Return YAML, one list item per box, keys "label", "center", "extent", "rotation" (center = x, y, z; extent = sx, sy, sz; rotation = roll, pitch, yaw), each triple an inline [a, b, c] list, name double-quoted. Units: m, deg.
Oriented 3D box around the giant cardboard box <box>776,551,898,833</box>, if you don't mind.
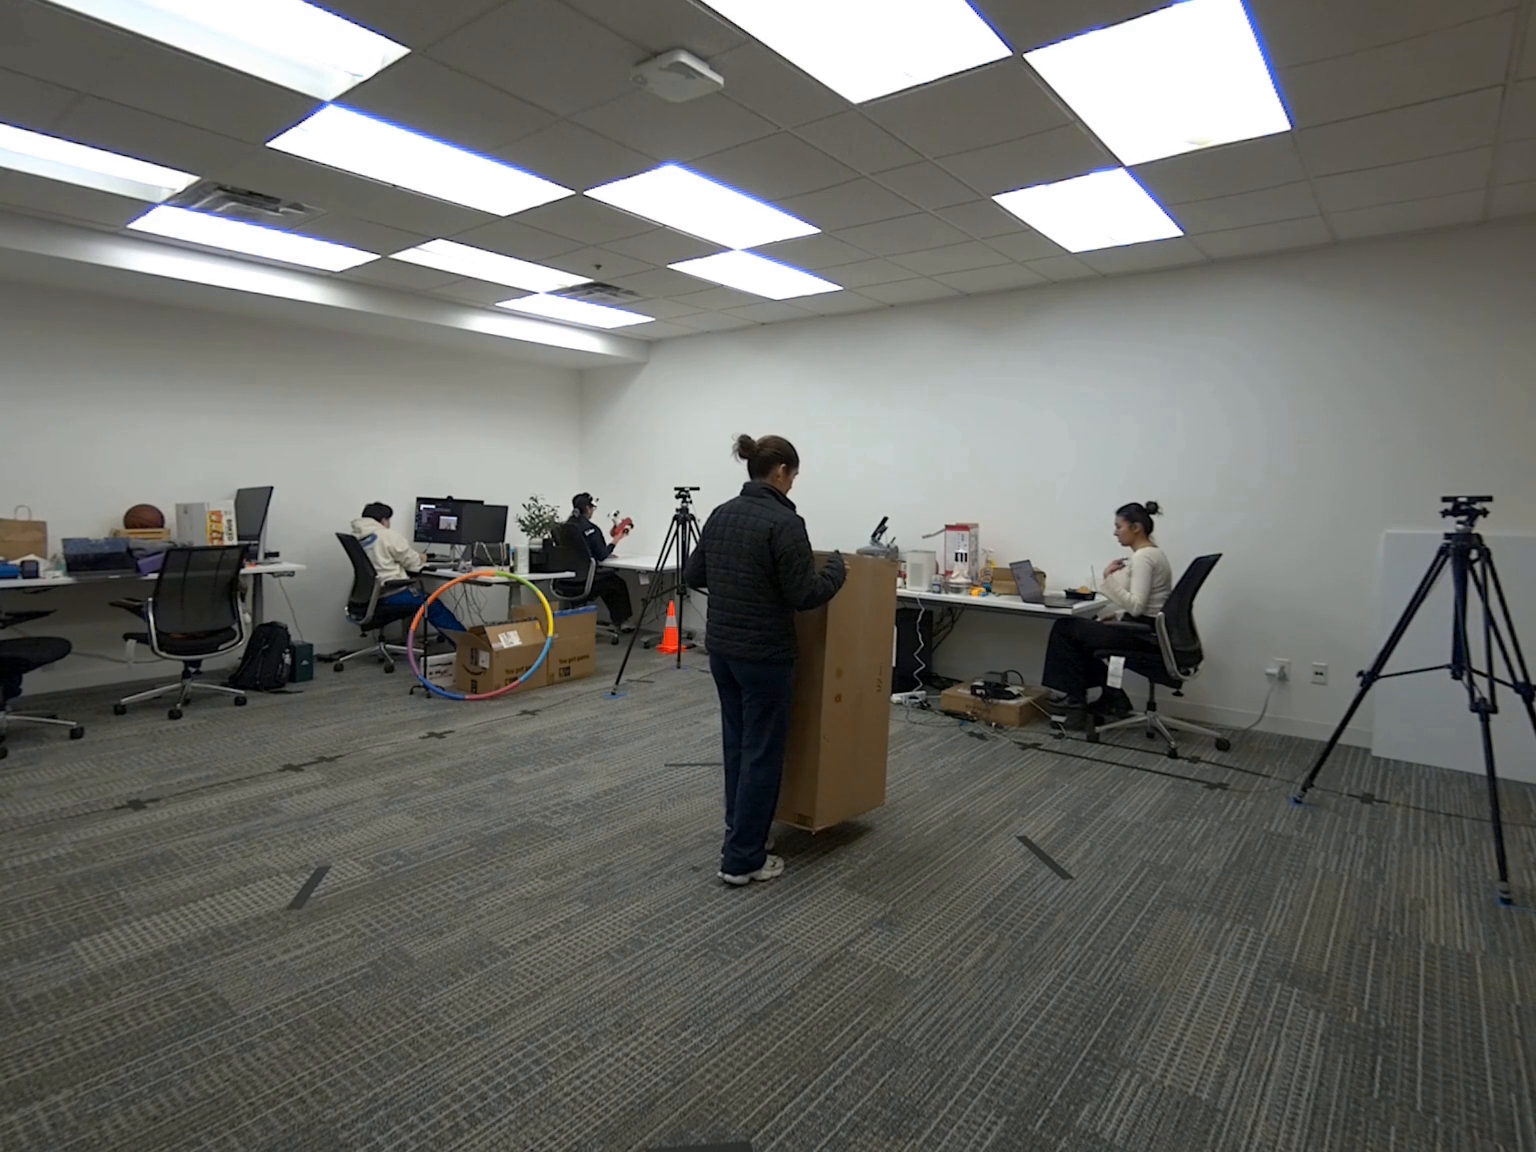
- label: "giant cardboard box"
  center: [0.209, 0.421, 3.470]
  extent: [0.440, 1.028, 0.558]
  rotation: [2, -3, 37]
